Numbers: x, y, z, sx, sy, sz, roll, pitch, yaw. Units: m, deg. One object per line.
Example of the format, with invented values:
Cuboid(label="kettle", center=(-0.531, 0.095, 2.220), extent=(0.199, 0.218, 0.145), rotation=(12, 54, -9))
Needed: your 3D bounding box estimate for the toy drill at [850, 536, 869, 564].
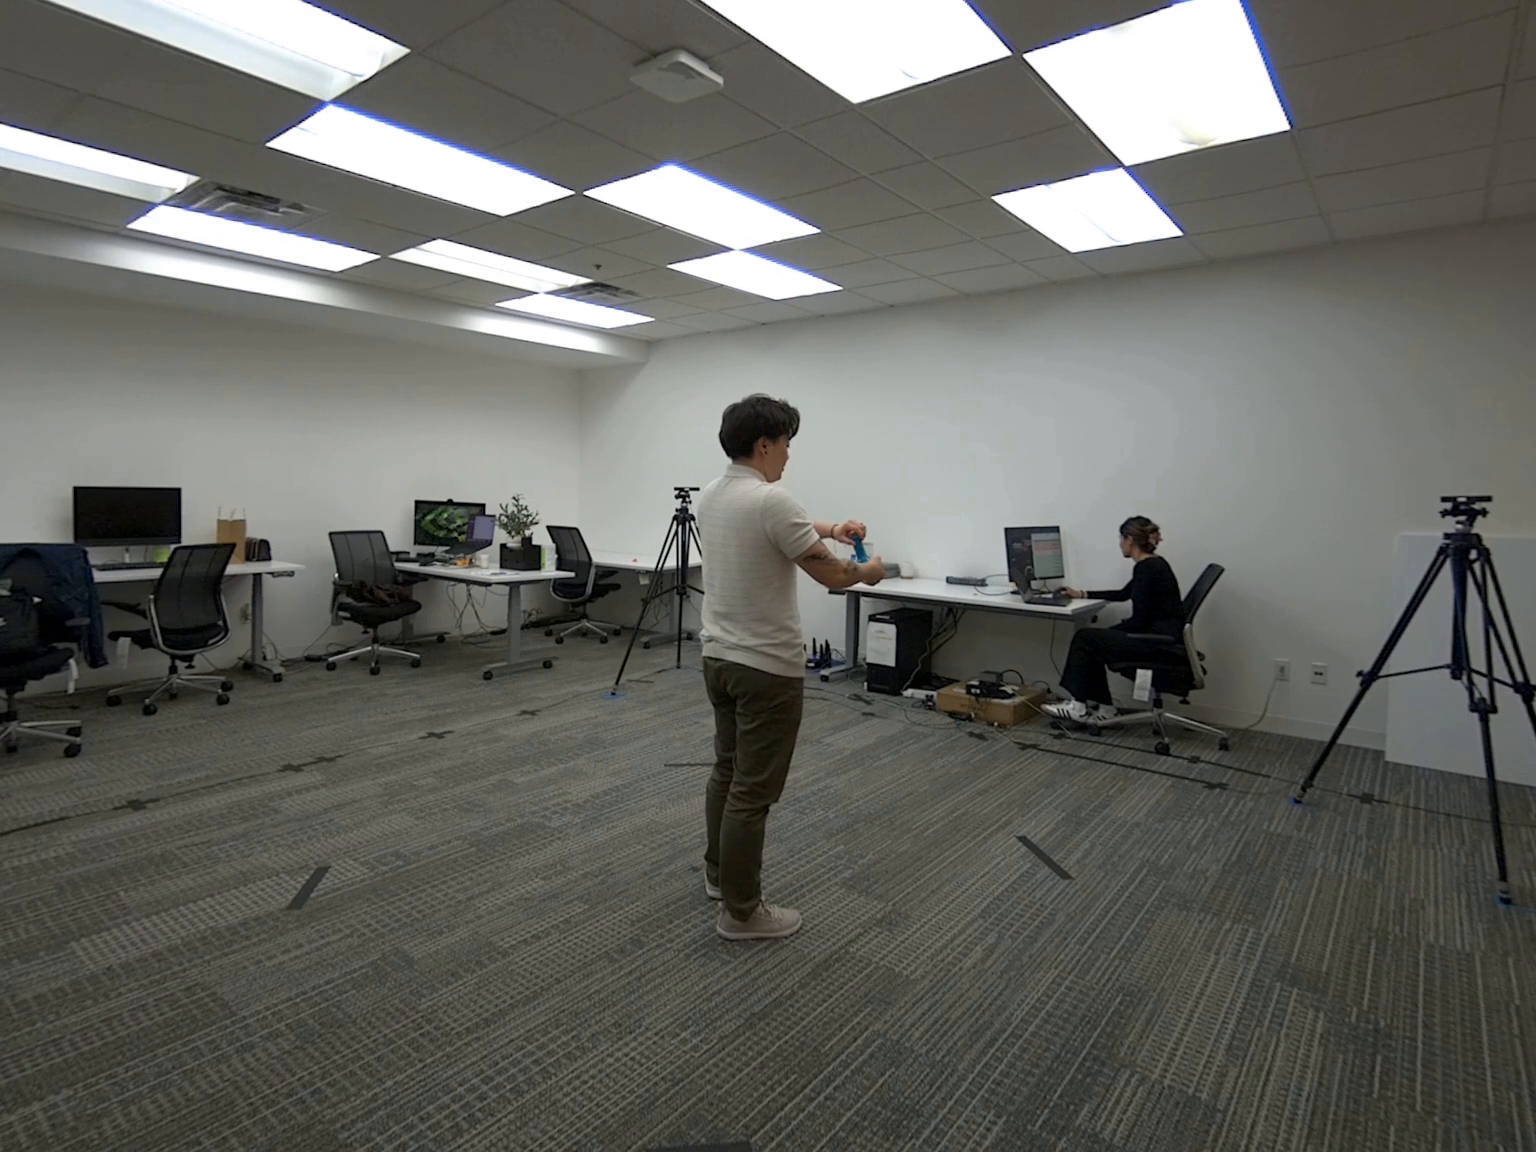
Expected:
Cuboid(label="toy drill", center=(0.303, -0.083, 2.871), extent=(0.061, 0.146, 0.170), rotation=(-20, 3, 4))
